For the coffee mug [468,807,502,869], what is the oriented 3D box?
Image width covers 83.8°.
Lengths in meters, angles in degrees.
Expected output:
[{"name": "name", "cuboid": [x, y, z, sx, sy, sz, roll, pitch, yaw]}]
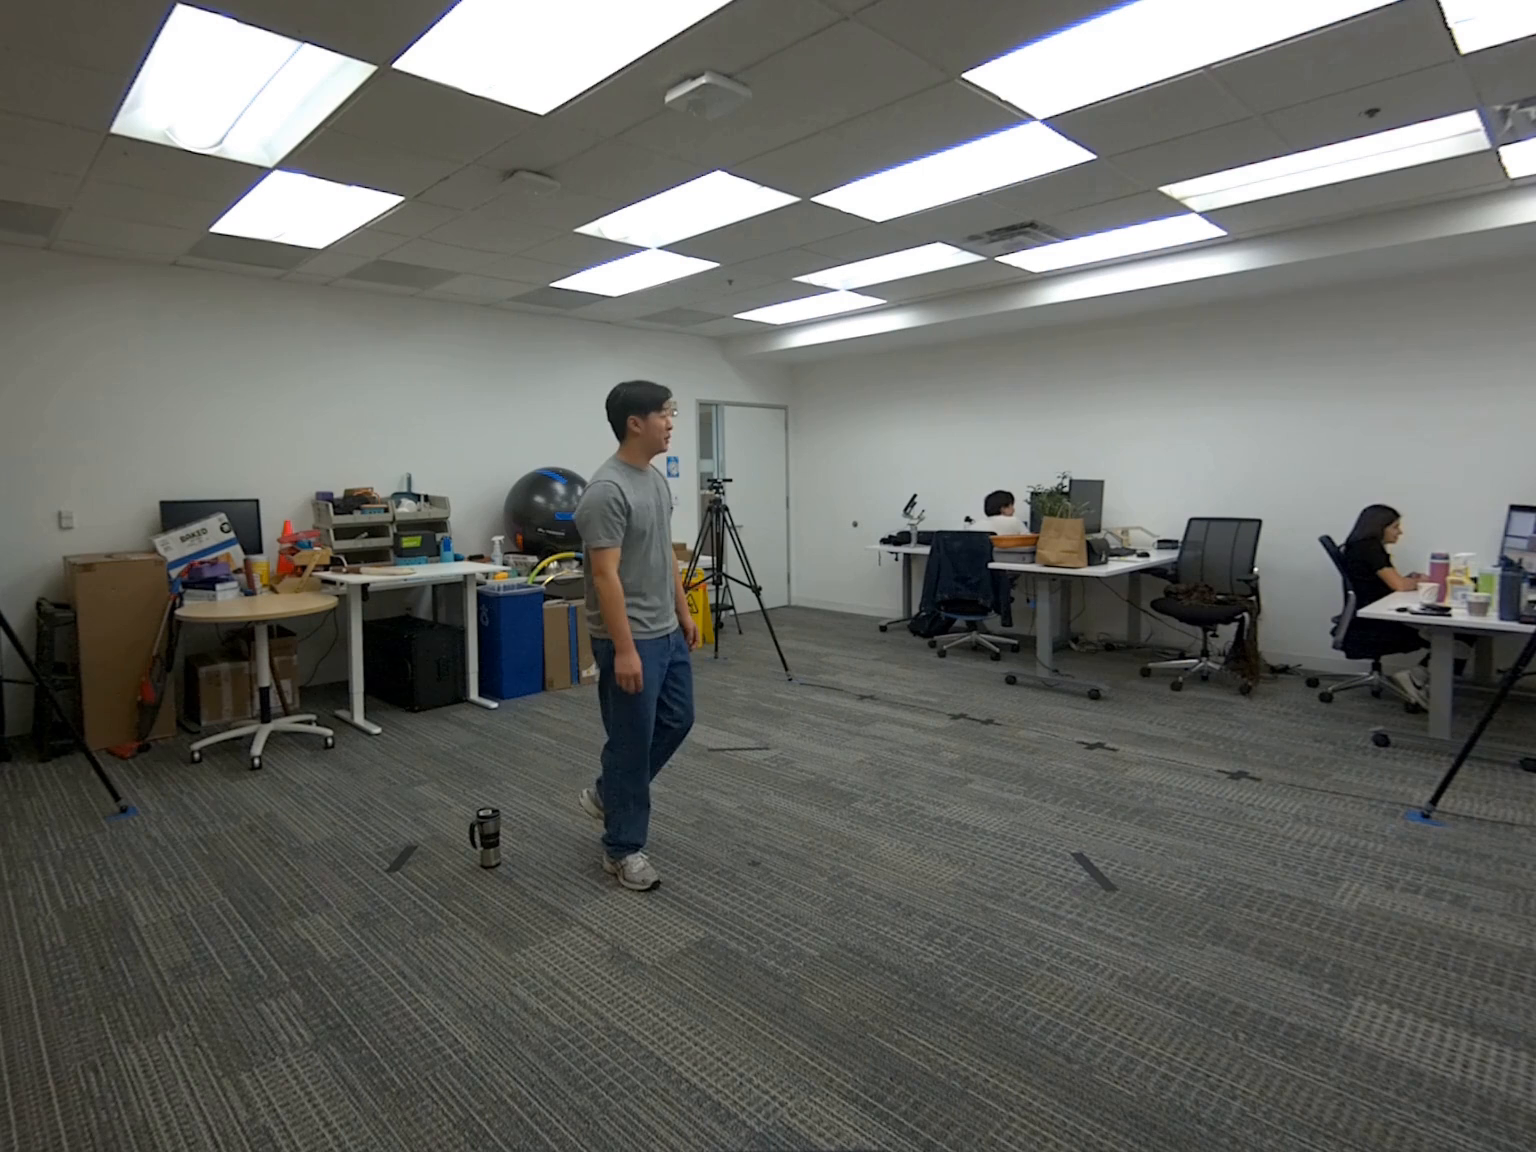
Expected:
[{"name": "coffee mug", "cuboid": [-1.028, 0.962, 3.118, 0.090, 0.202, 0.119, 2, 4, 33]}]
